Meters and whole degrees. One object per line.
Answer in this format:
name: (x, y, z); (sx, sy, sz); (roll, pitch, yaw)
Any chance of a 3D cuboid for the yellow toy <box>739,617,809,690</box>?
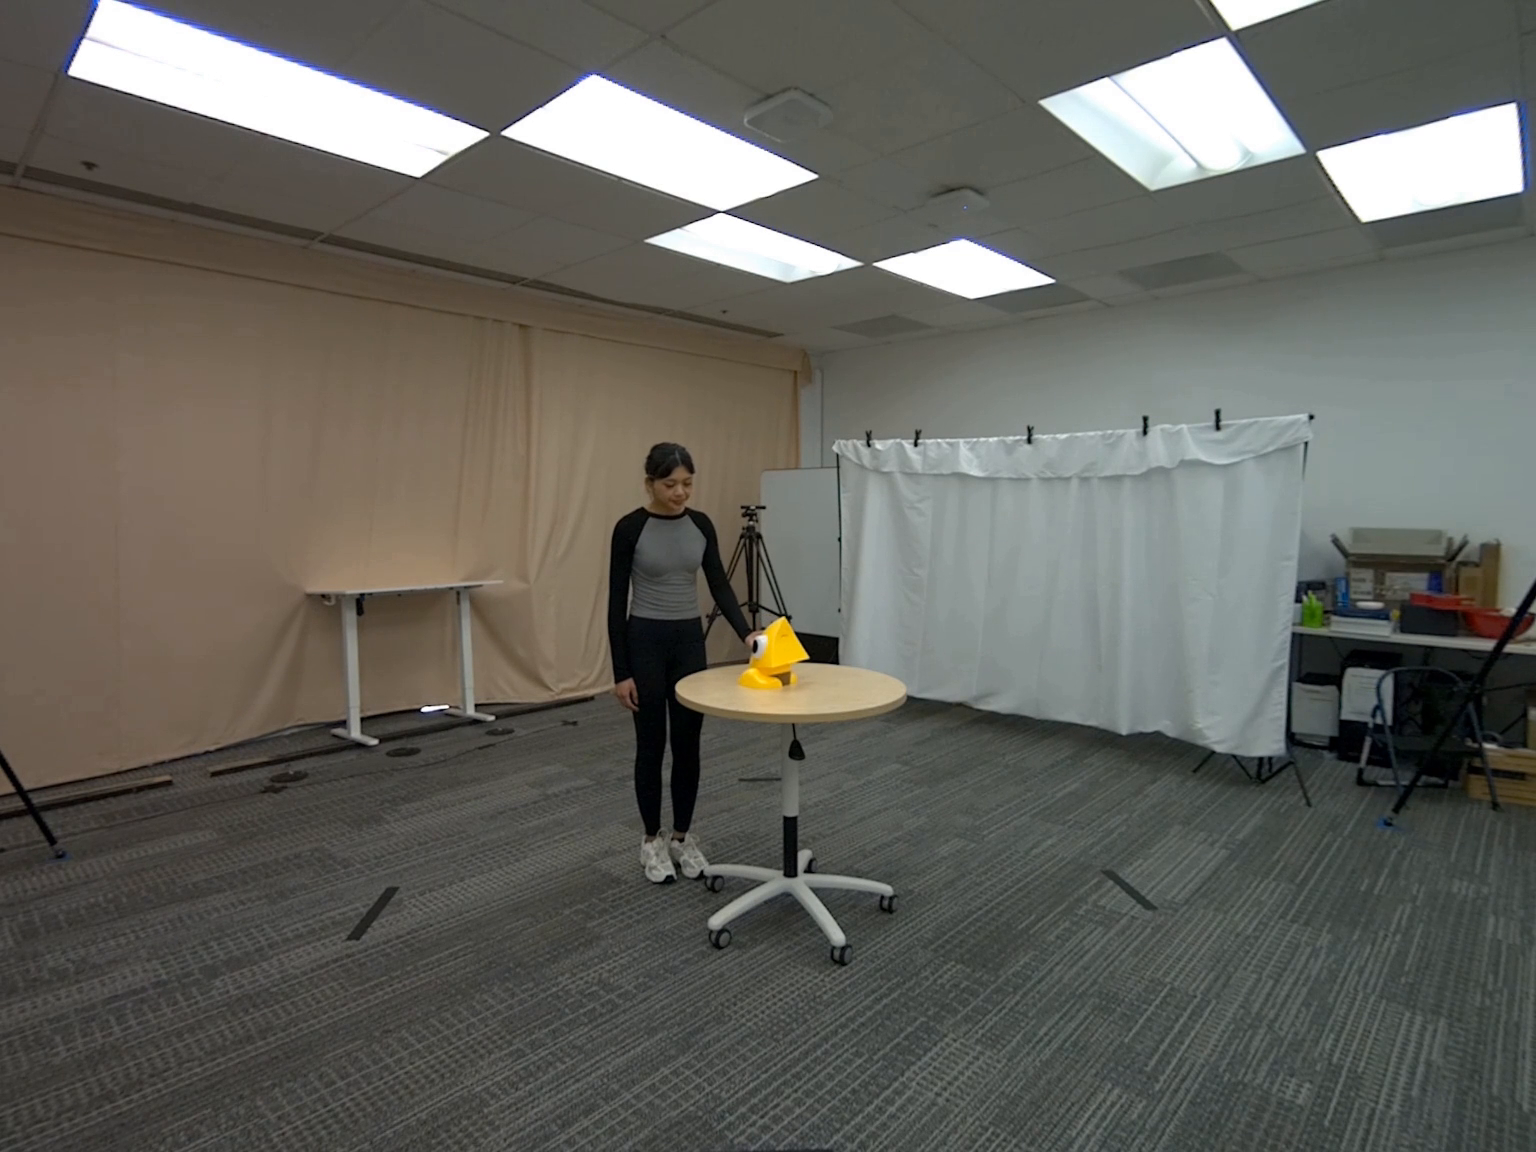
yellow toy: (0.009, 0.250, 2.856); (0.199, 0.230, 0.199); (2, 5, 41)
